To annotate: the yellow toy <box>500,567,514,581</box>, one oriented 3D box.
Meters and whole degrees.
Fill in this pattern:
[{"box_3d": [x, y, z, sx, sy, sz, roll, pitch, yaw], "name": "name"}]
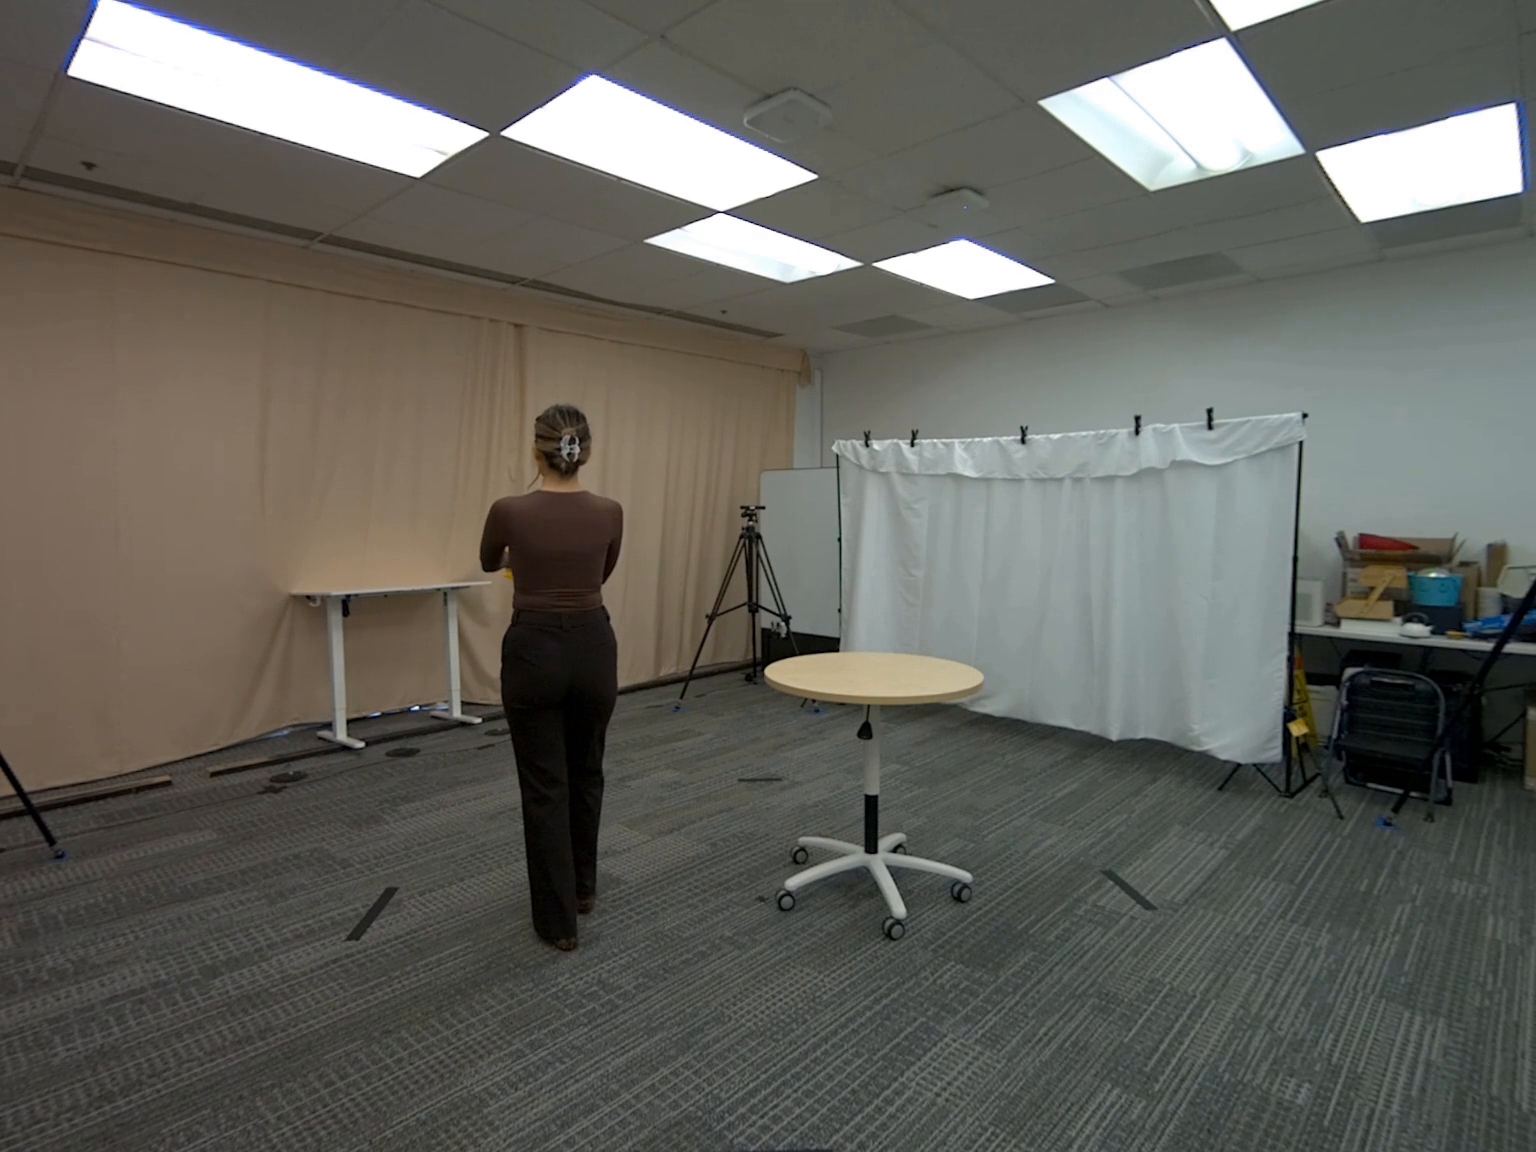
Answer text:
[{"box_3d": [-0.894, -0.119, 3.170, 0.188, 0.229, 0.210, 11, 25, -22], "name": "yellow toy"}]
